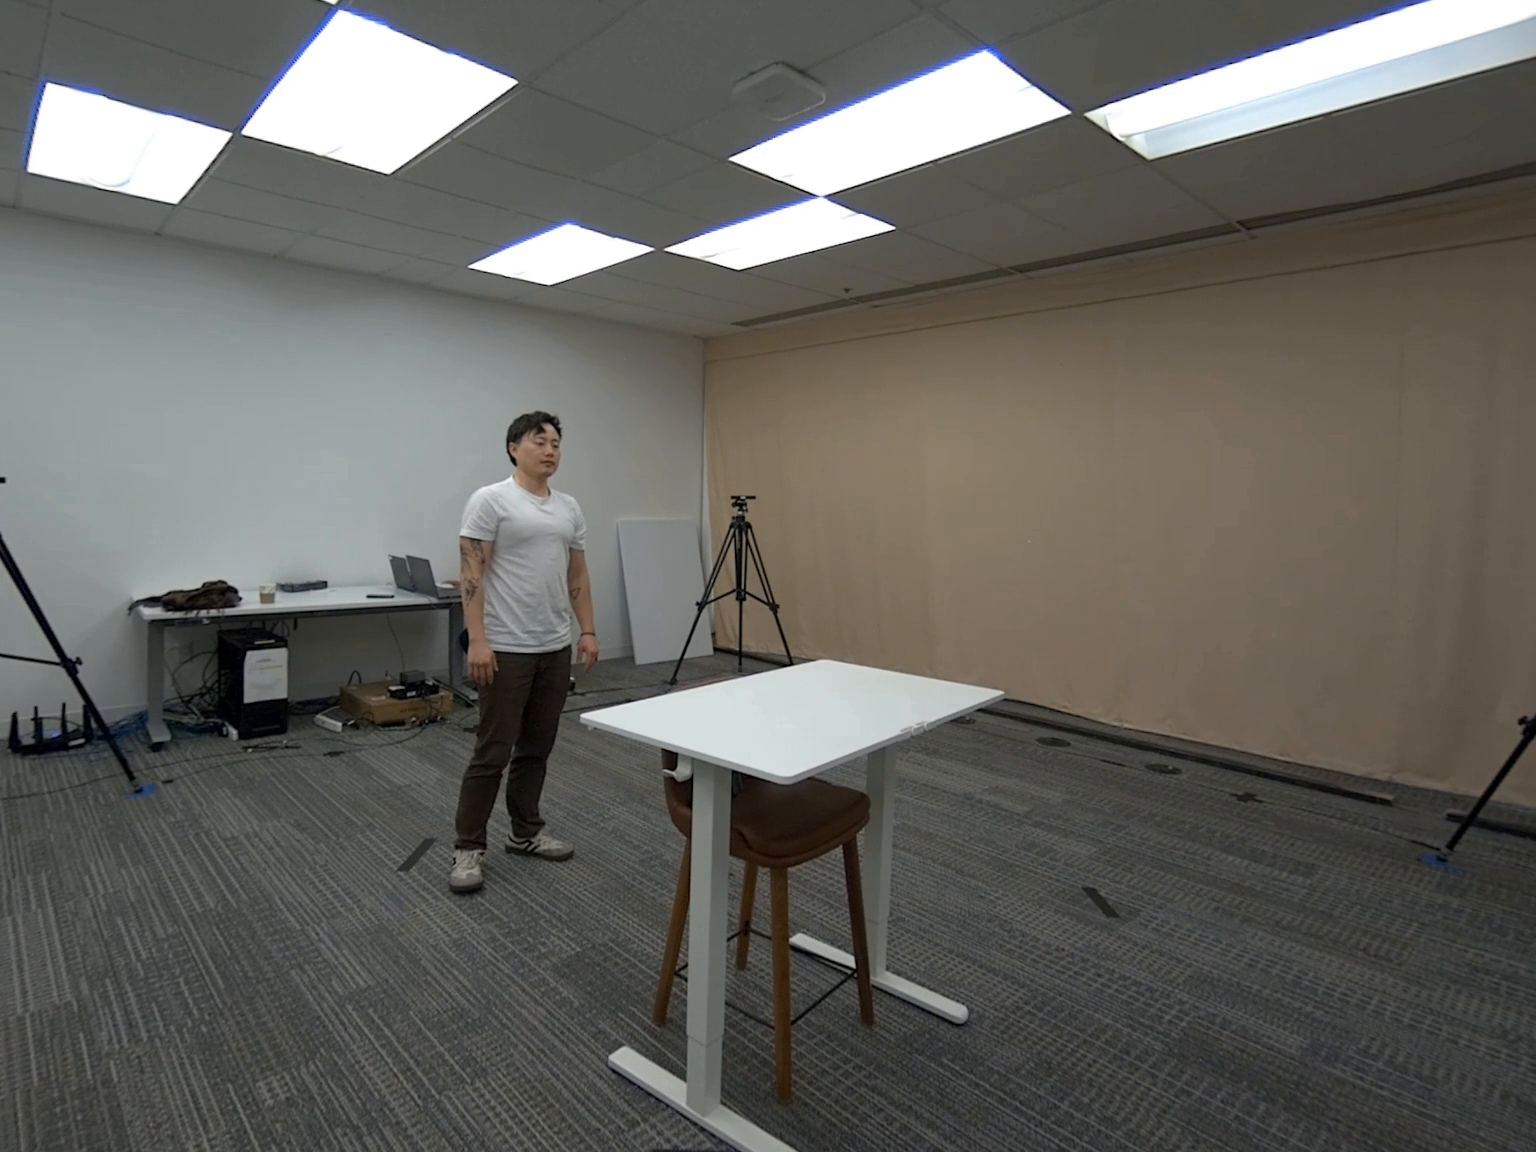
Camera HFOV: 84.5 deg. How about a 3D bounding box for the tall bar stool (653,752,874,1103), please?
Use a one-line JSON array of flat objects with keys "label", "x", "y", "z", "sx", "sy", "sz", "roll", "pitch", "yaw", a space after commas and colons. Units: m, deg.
[{"label": "tall bar stool", "x": -0.014, "y": 0.757, "z": 2.202, "sx": 0.479, "sy": 0.888, "sz": 0.446, "roll": 3, "pitch": 4, "yaw": 39}]
